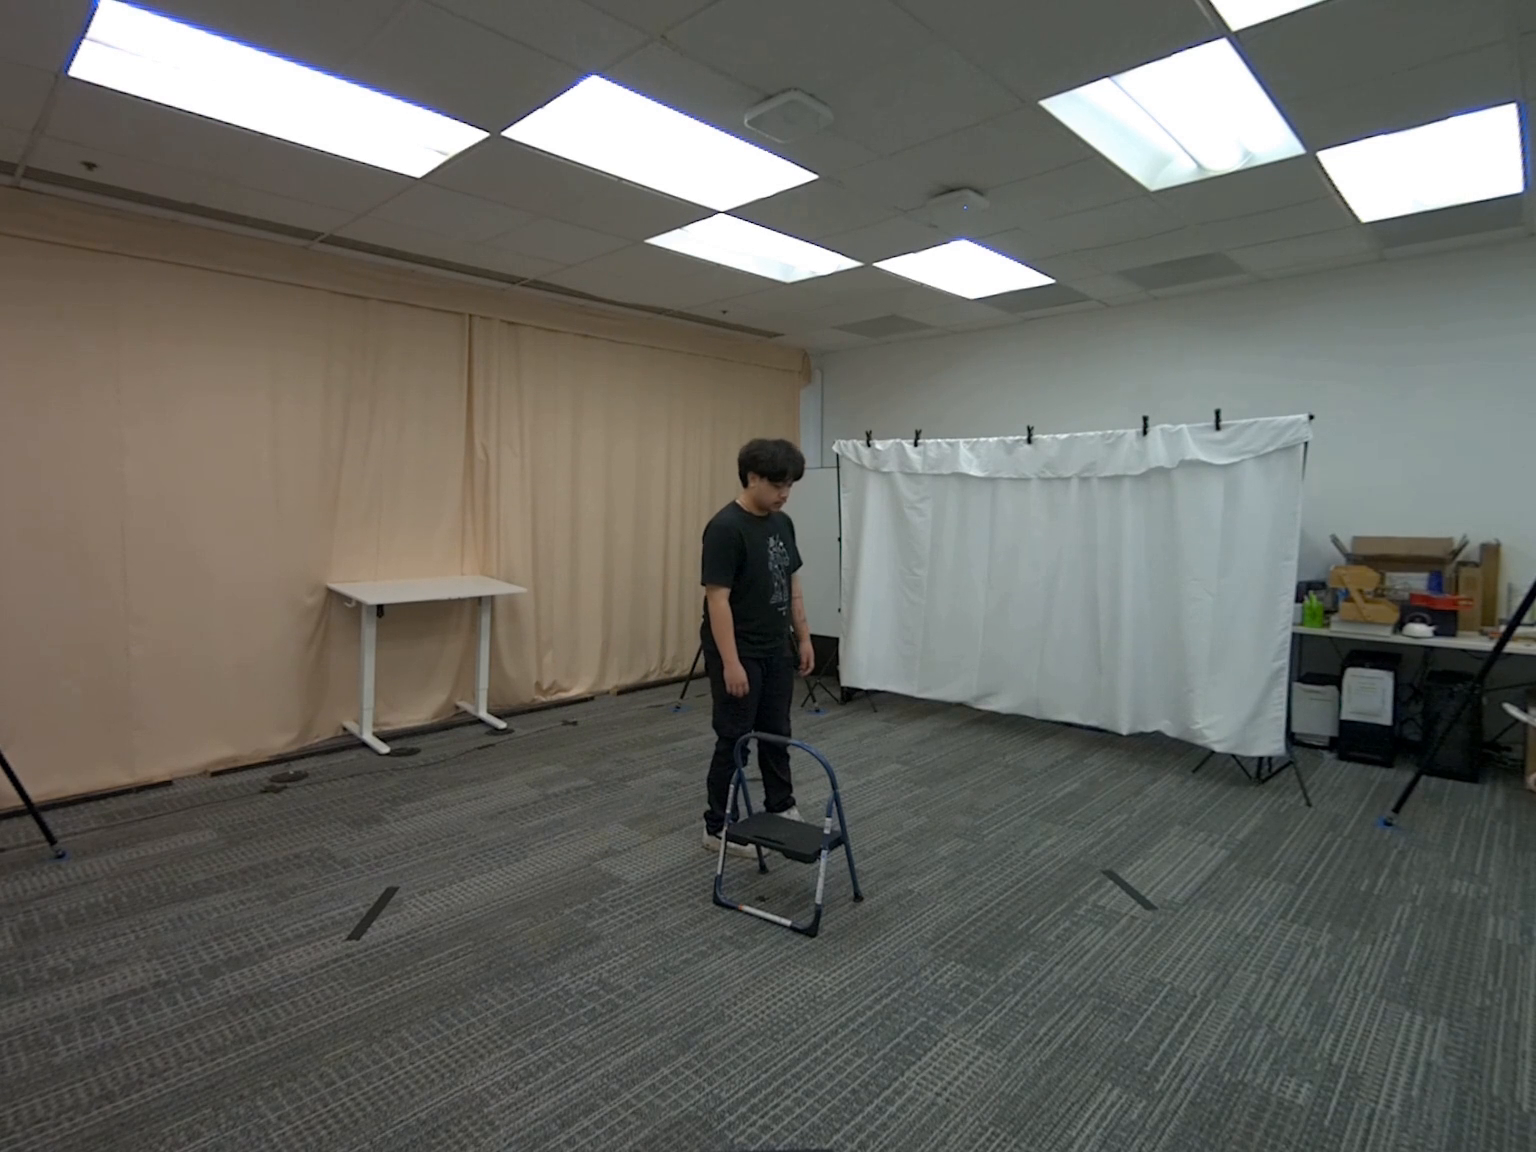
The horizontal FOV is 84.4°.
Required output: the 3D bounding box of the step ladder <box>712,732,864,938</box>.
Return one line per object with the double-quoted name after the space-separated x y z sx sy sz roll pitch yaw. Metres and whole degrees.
0.076 0.840 2.950 0.444 0.605 0.339 3 4 34 "step ladder"
